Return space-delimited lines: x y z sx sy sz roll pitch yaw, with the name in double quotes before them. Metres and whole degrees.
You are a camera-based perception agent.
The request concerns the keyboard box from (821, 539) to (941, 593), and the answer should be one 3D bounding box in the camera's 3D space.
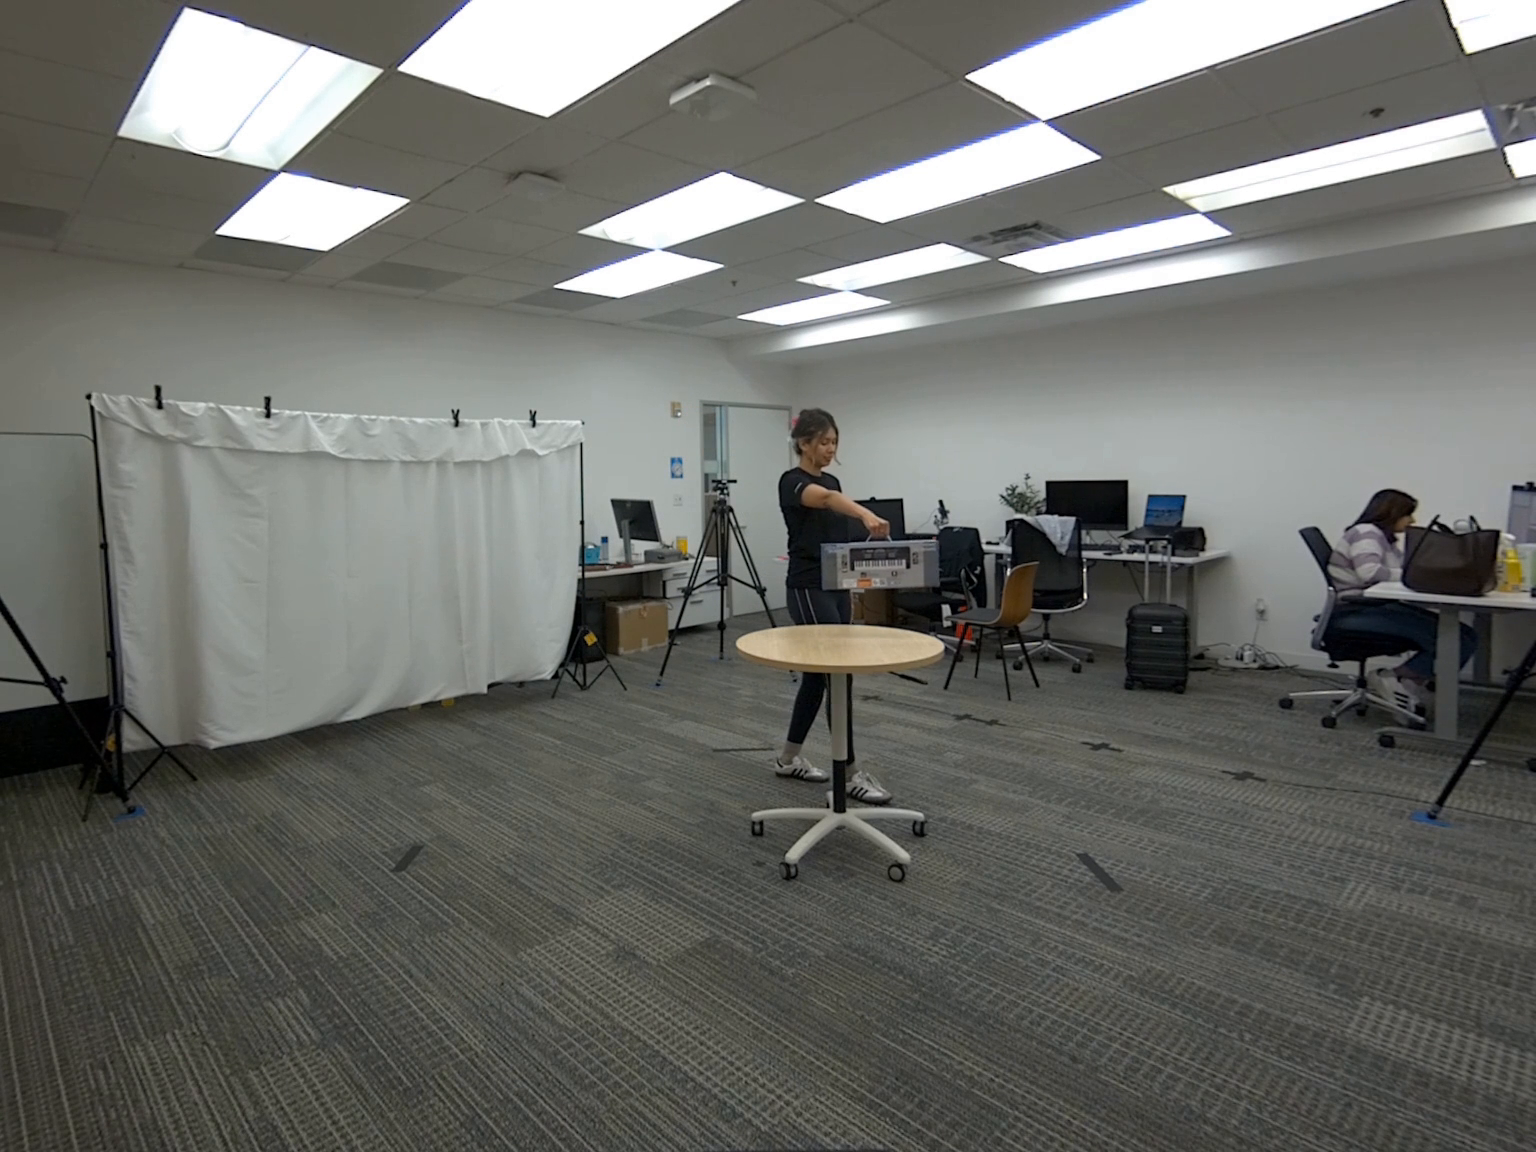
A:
"keyboard box" 0.423 -0.042 3.241 0.438 0.175 0.059 -3 4 3
